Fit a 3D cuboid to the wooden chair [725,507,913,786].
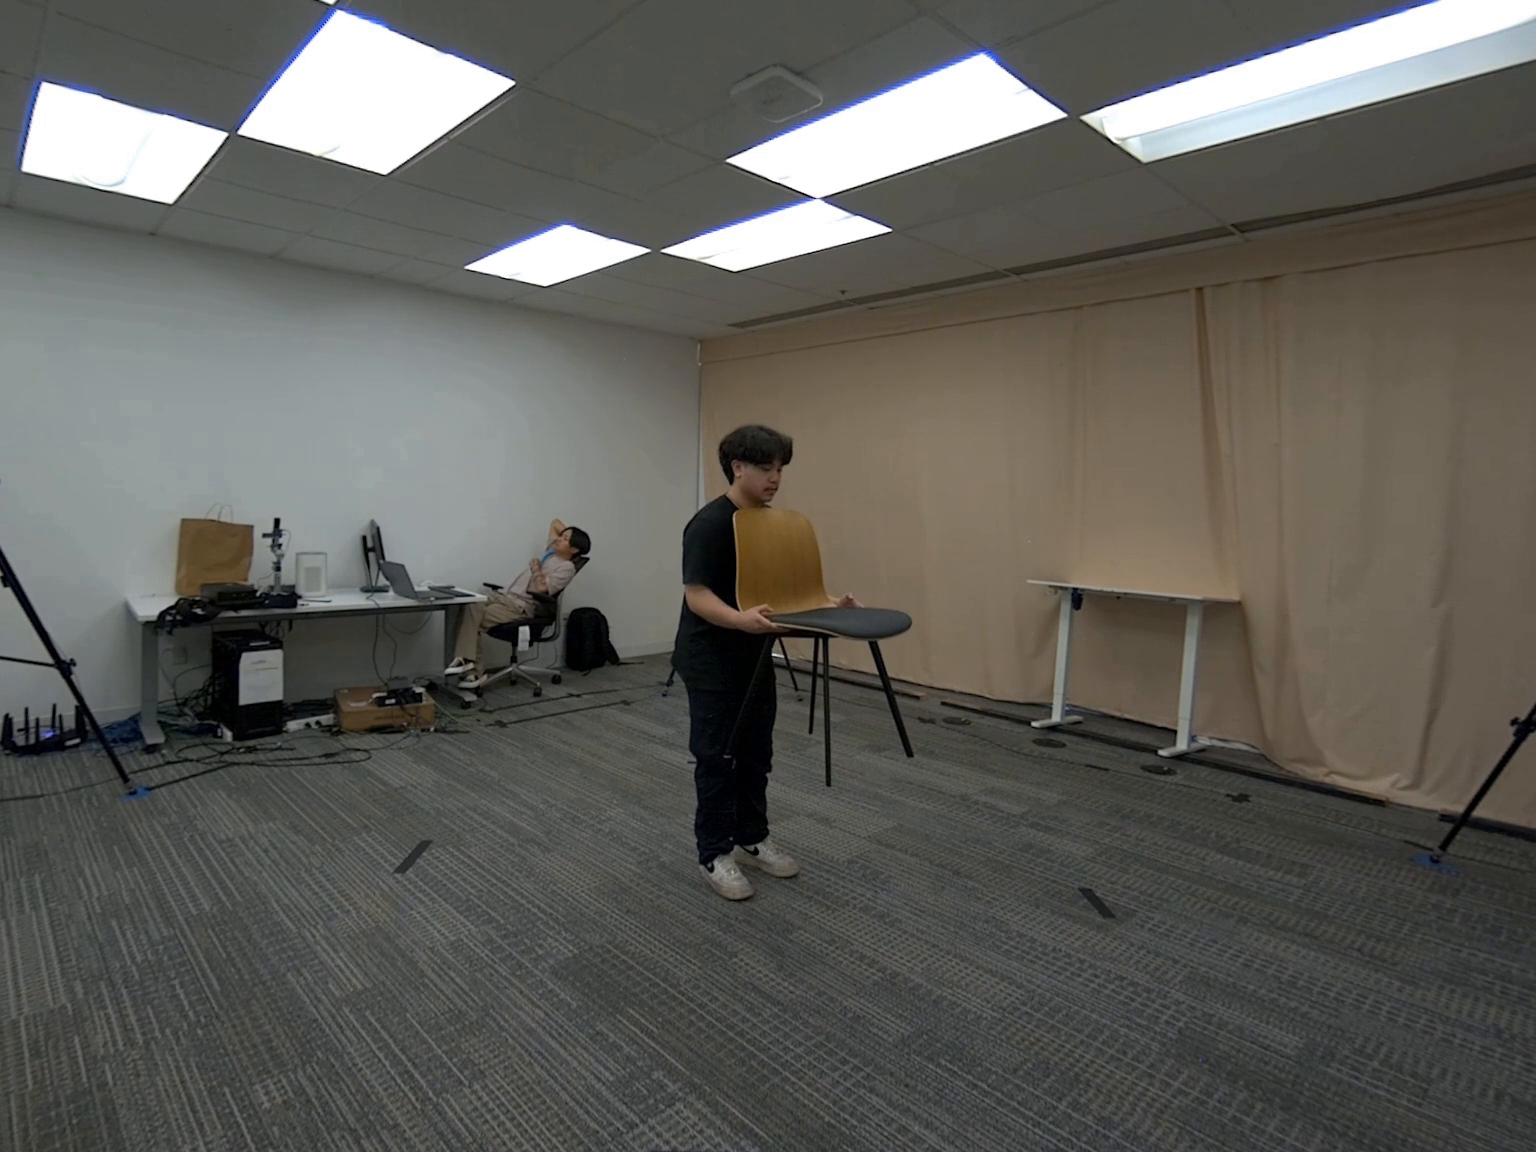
[{"bbox_3d":[0.166,0.193,2.820,0.535,0.878,0.467,-3,-2,44],"label":"wooden chair"}]
